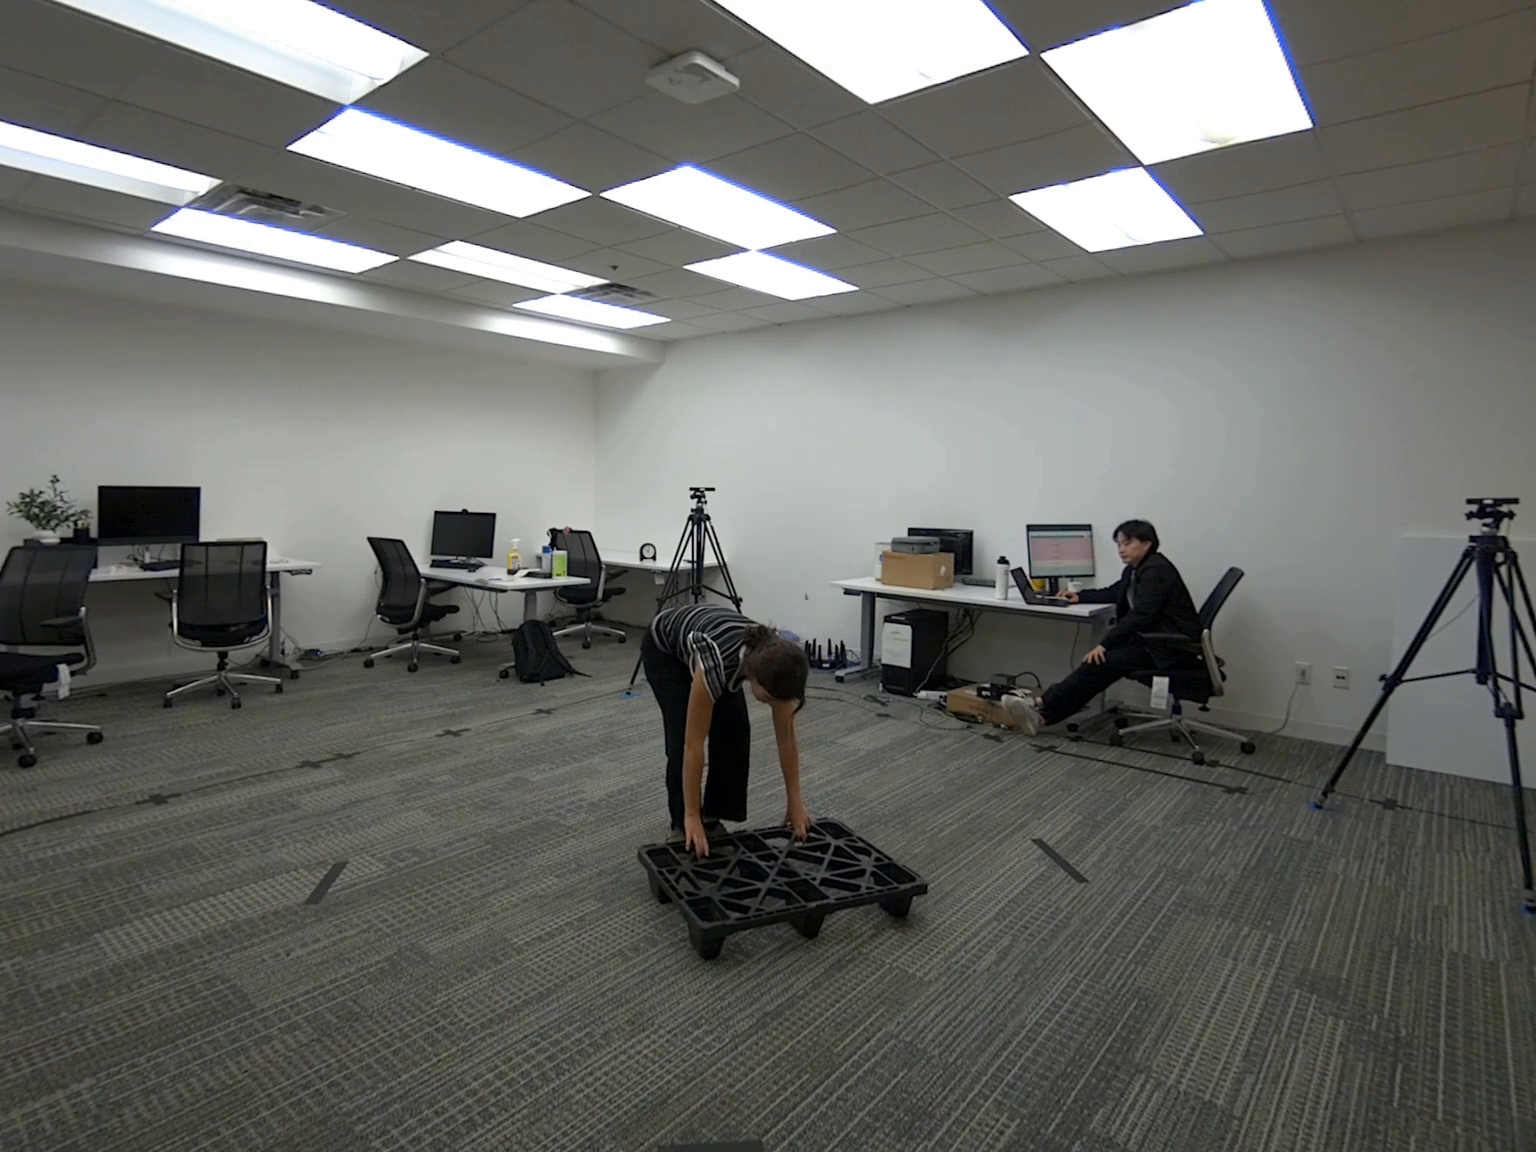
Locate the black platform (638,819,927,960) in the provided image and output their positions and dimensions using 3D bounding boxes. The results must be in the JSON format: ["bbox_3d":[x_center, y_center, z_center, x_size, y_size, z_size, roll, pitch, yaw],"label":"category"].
[{"bbox_3d":[0.027,1.028,2.852,0.787,0.143,0.622,-2,7,-25],"label":"black platform"}]
